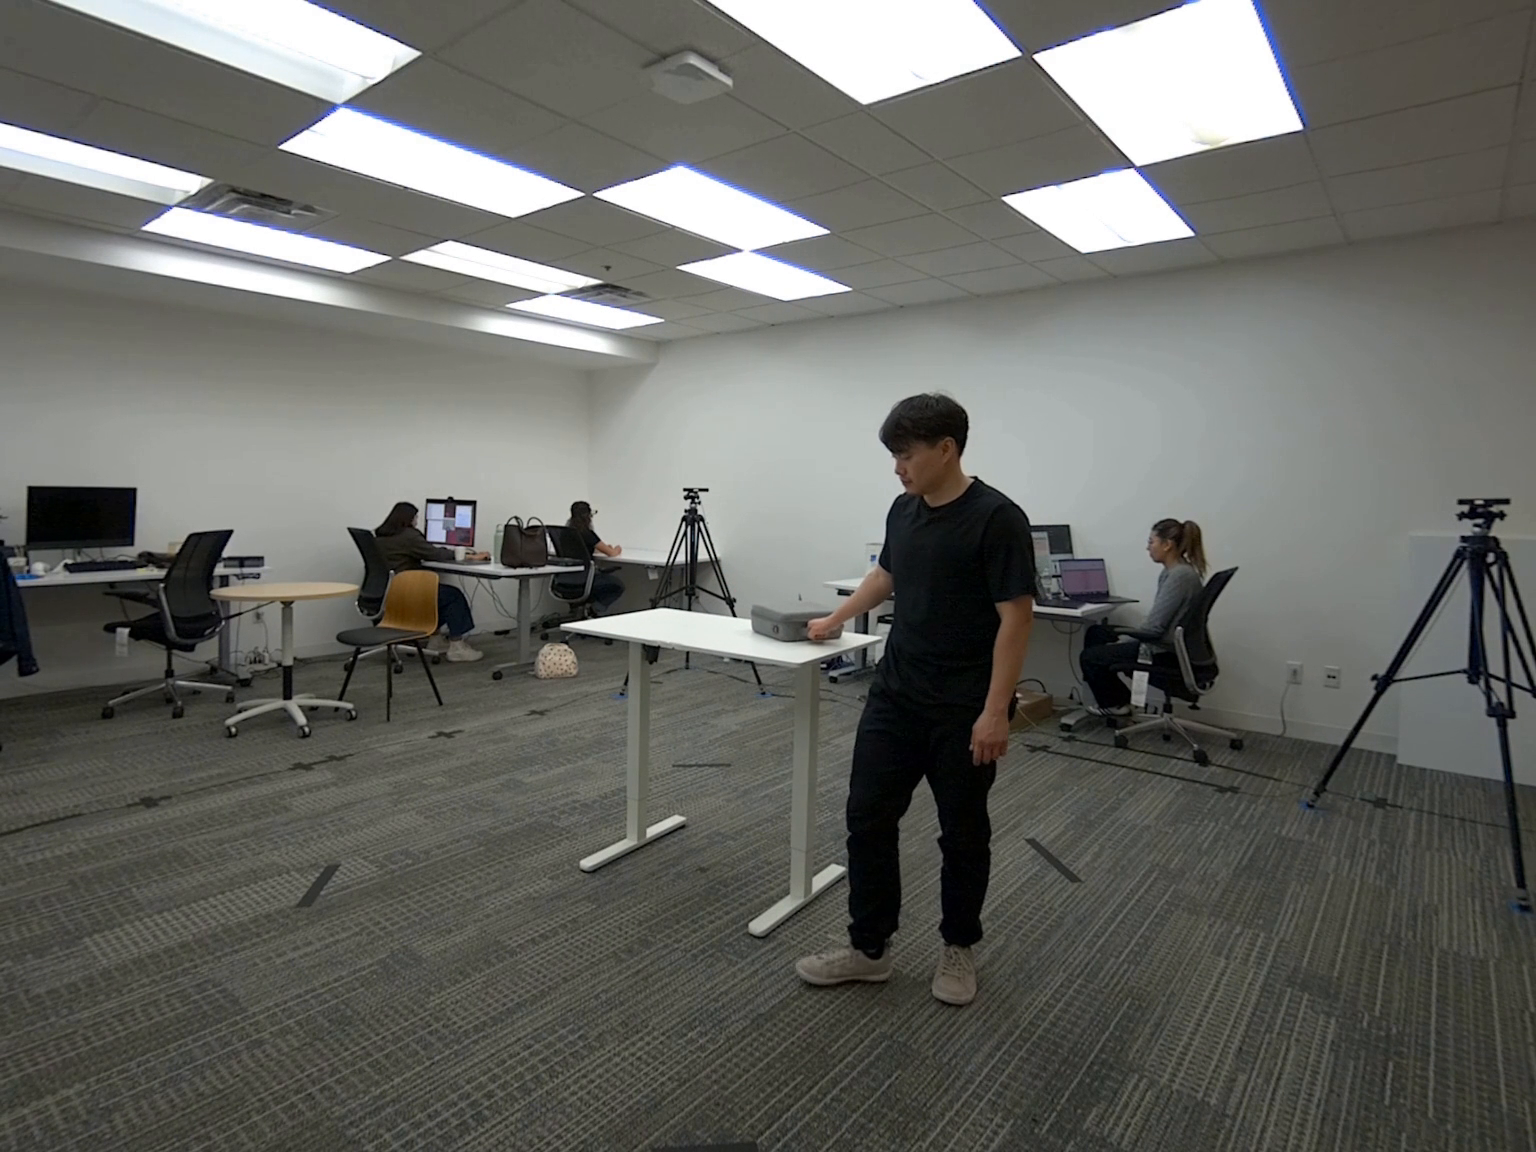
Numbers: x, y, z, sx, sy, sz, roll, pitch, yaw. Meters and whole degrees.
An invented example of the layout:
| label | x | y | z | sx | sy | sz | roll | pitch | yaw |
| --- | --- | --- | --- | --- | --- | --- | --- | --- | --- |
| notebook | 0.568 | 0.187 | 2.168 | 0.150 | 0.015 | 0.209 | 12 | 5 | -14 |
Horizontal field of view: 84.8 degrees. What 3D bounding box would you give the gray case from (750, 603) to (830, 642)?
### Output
| label | x | y | z | sx | sy | sz | roll | pitch | yaw |
| --- | --- | --- | --- | --- | --- | --- | --- | --- | --- |
| gray case | 0.093 | 0.152 | 2.997 | 0.250 | 0.104 | 0.269 | 0 | 7 | -29 |
